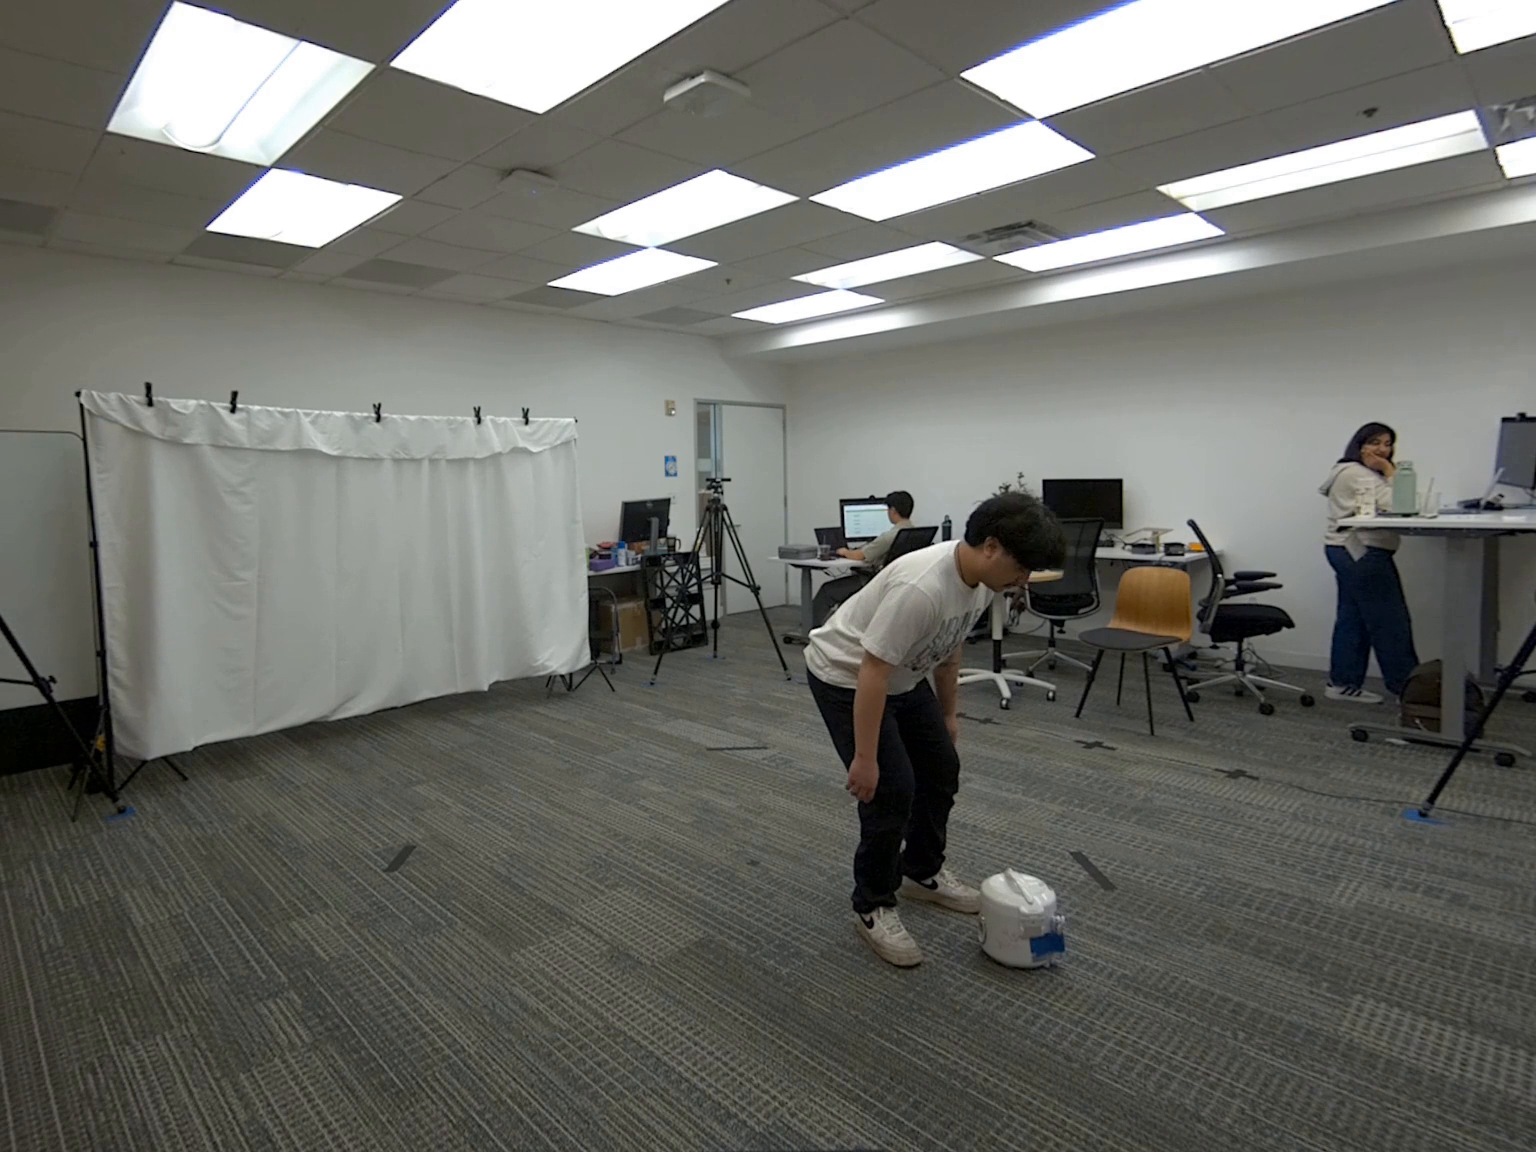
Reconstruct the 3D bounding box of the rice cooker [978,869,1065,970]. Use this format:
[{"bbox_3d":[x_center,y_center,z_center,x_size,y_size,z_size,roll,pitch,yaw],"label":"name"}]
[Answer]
[{"bbox_3d":[0.725,0.978,2.479,0.217,0.232,0.222,0,4,-3],"label":"rice cooker"}]
